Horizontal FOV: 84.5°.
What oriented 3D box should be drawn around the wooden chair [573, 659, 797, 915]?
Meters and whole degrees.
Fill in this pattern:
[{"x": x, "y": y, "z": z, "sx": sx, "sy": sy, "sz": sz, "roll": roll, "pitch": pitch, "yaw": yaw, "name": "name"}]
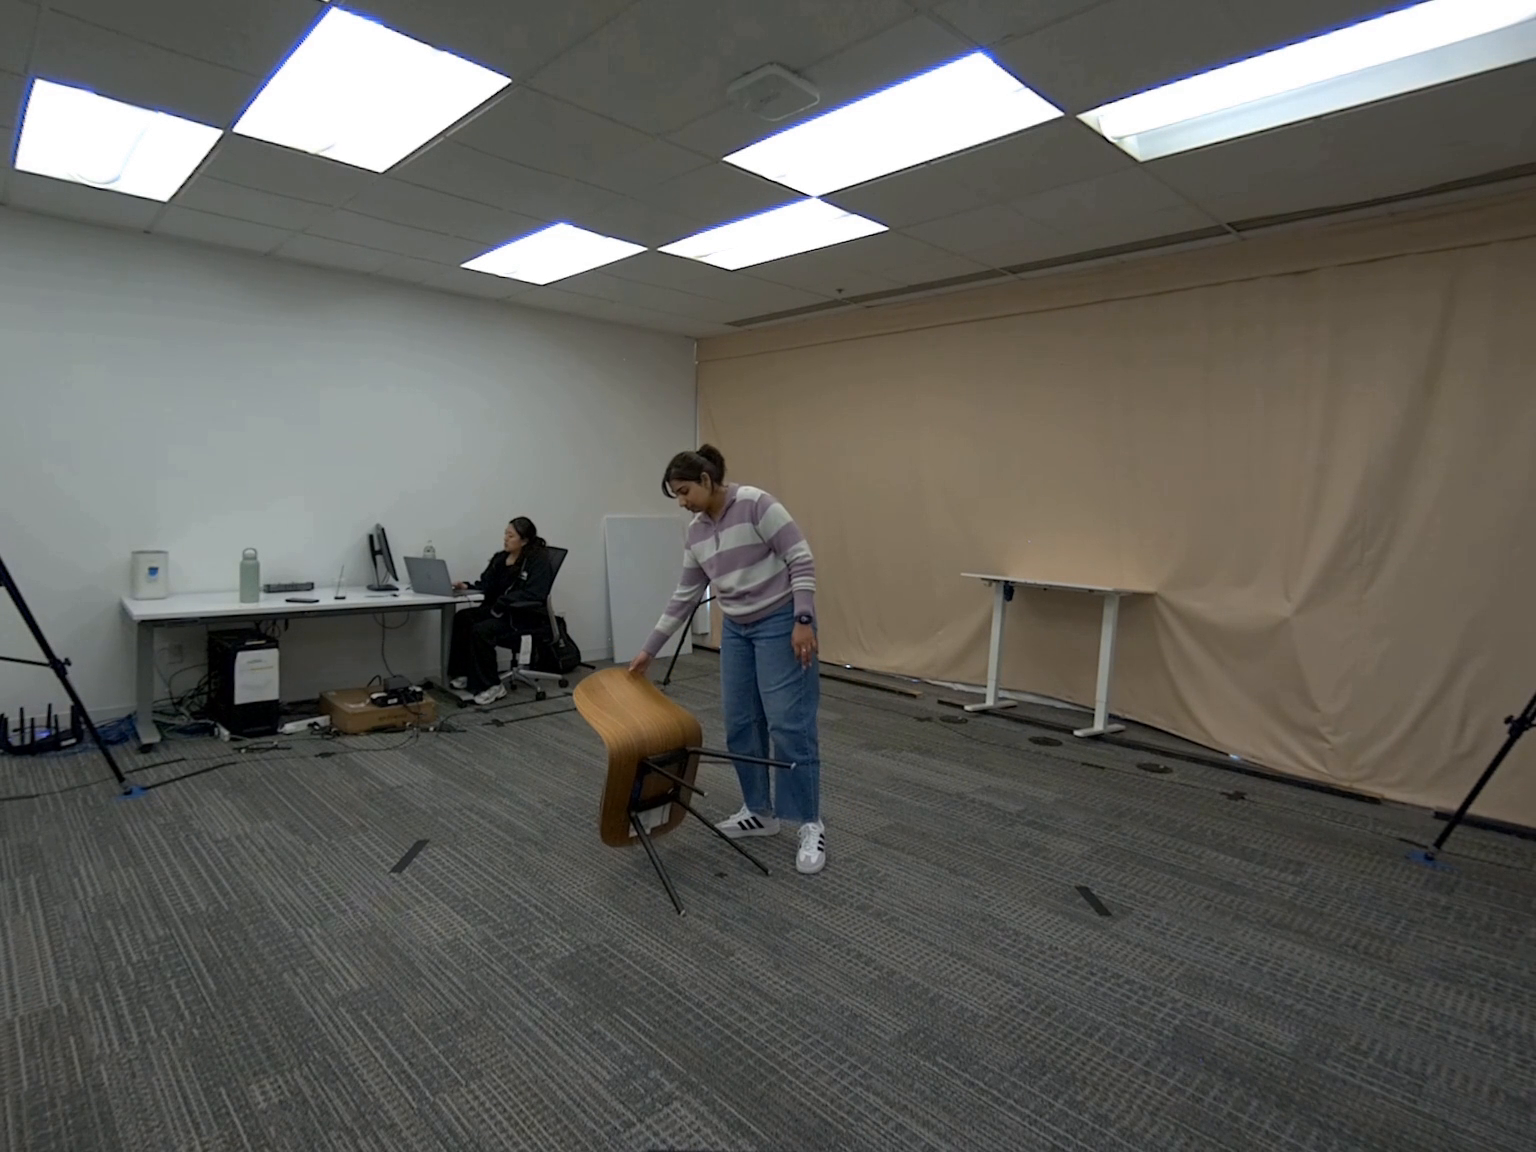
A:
[{"x": -0.412, "y": 0.779, "z": 3.184, "sx": 0.904, "sy": 0.518, "sz": 0.467, "roll": 27, "pitch": 21, "yaw": 39, "name": "wooden chair"}]
